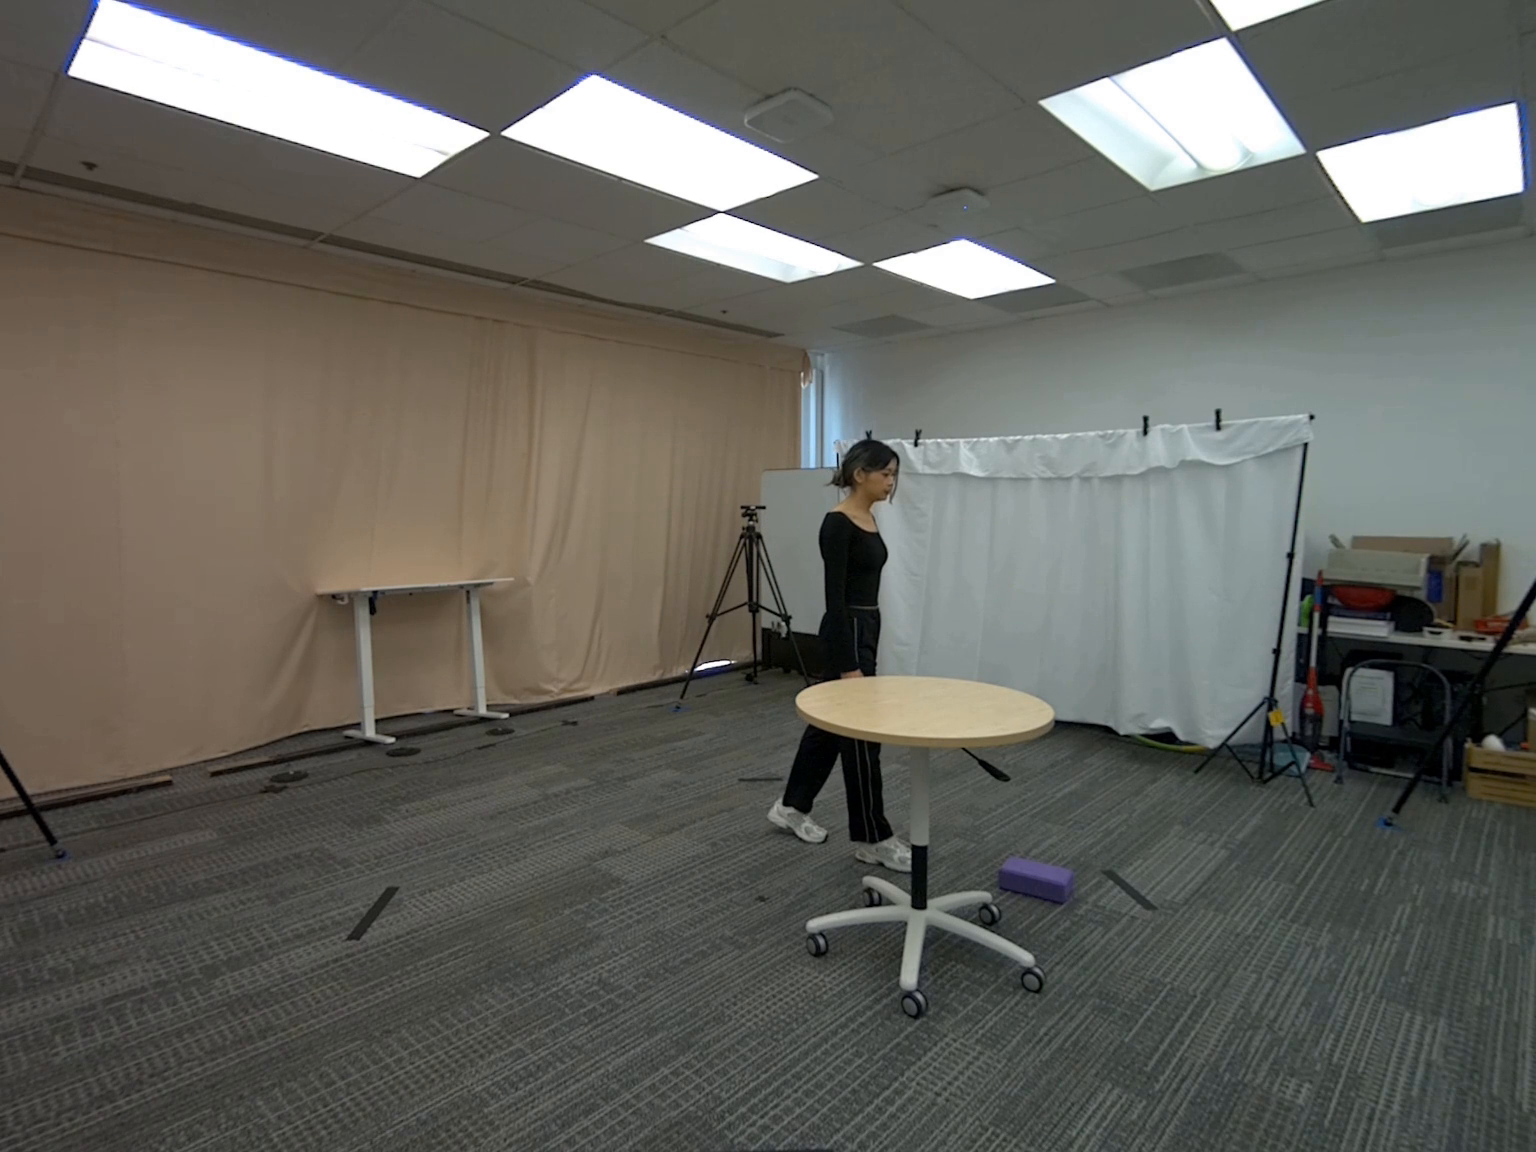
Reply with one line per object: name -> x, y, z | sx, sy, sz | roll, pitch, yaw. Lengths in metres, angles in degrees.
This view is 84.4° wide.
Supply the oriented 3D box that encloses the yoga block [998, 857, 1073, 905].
yoga block -> 0.976, 1.097, 3.047 | 0.236, 0.076, 0.145 | 4, 5, 33
